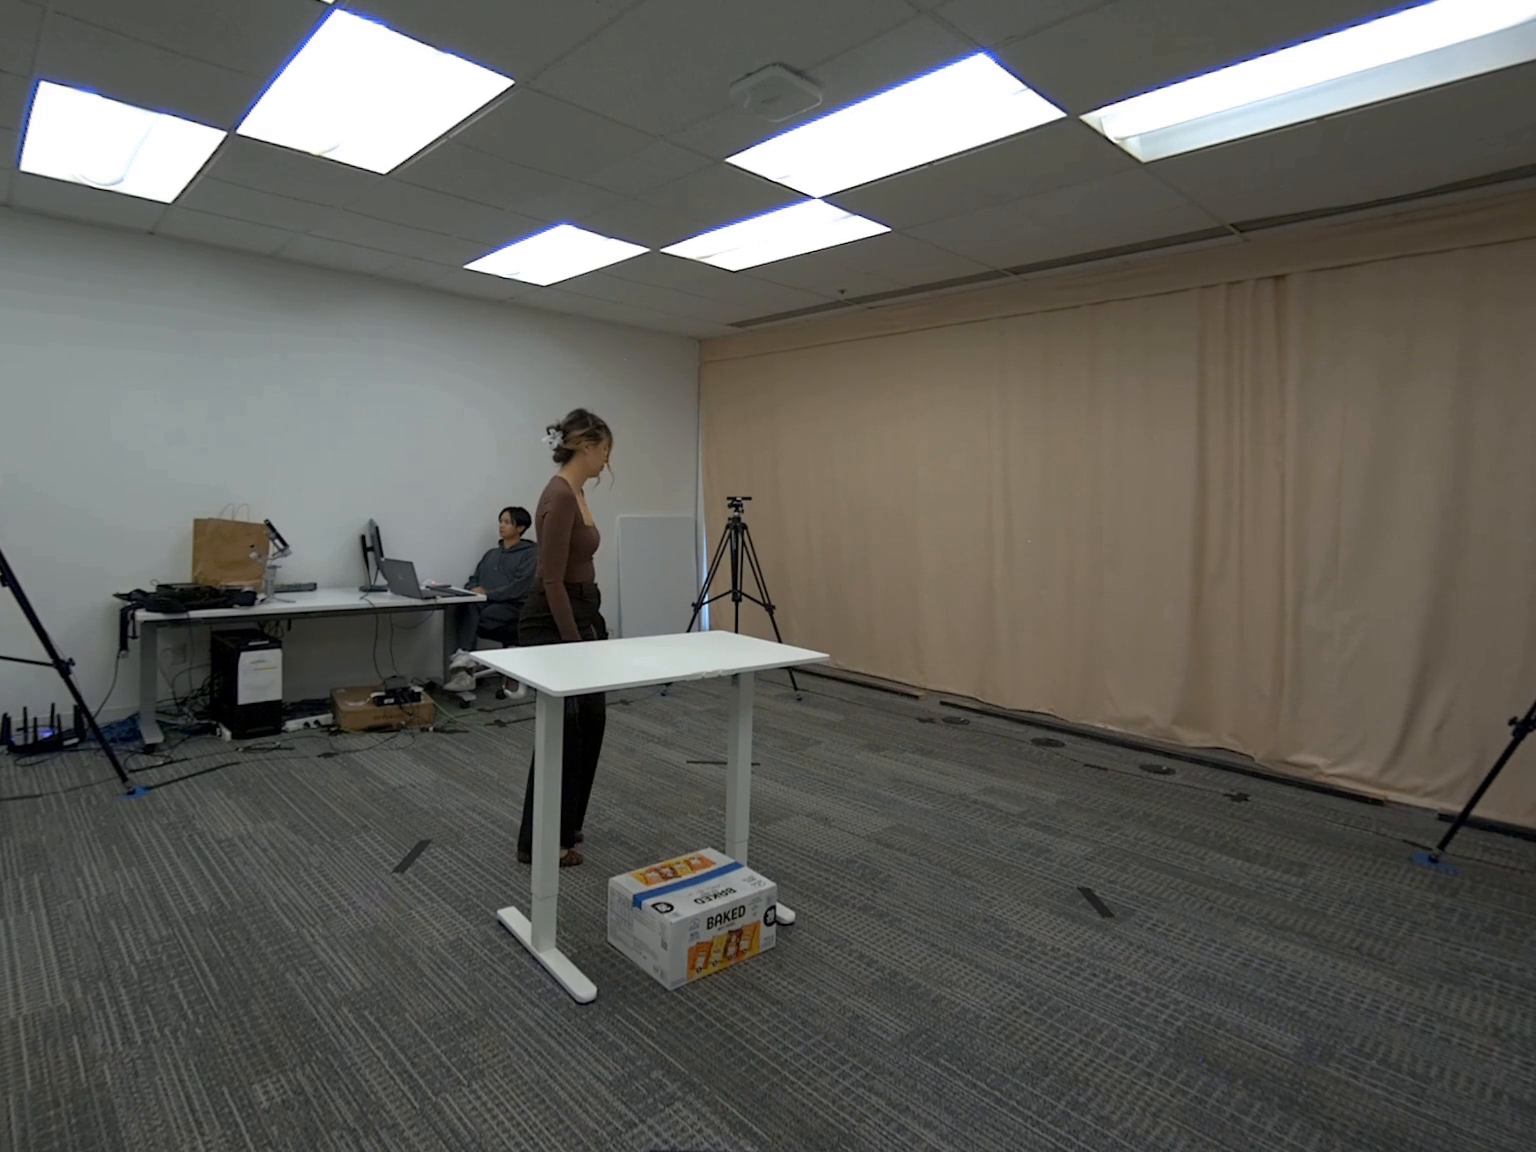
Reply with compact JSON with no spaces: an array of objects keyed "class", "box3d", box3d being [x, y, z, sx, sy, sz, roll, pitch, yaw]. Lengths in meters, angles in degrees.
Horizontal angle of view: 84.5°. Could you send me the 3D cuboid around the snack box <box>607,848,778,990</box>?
[{"class":"snack box","box3d":[-0.240,1.050,2.605,0.396,0.205,0.349,-3,6,-41]}]
